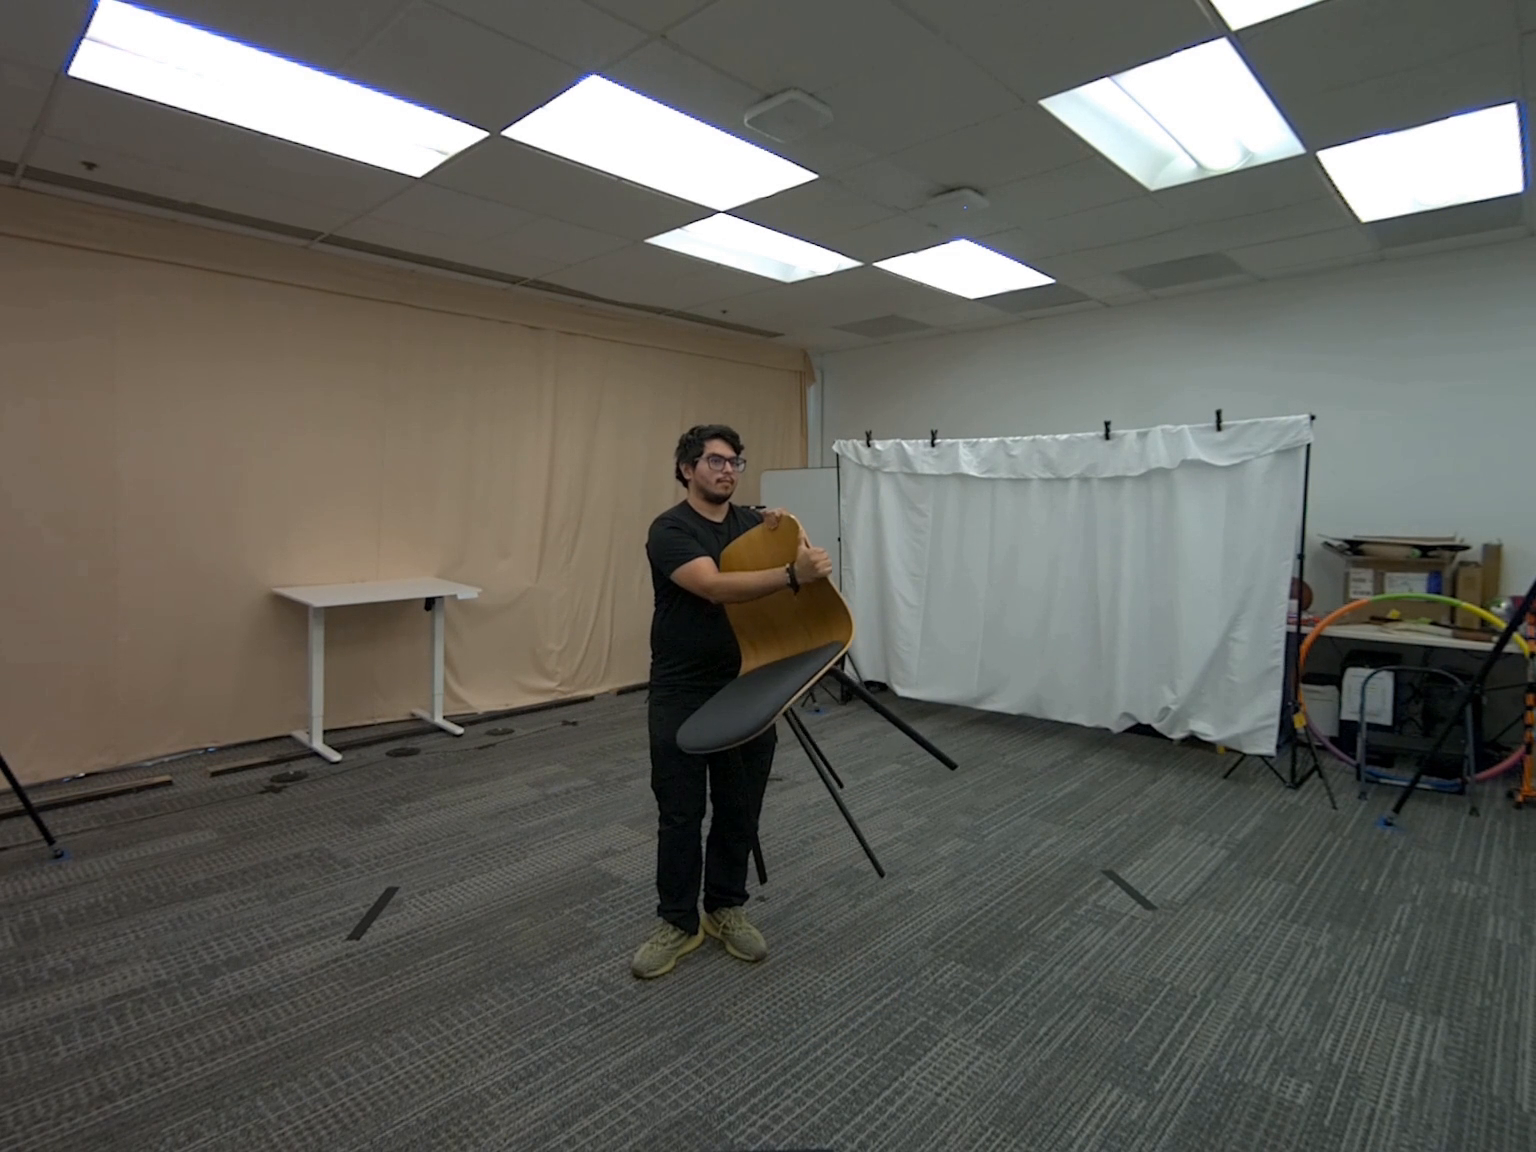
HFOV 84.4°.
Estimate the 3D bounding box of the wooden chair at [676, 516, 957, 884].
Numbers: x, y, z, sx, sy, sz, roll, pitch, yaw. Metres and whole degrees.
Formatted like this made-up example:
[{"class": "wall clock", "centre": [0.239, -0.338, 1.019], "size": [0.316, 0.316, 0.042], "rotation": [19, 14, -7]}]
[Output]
[{"class": "wooden chair", "centre": [0.039, 0.327, 2.285], "size": [0.487, 0.878, 0.513], "rotation": [-28, 0, 45]}]
